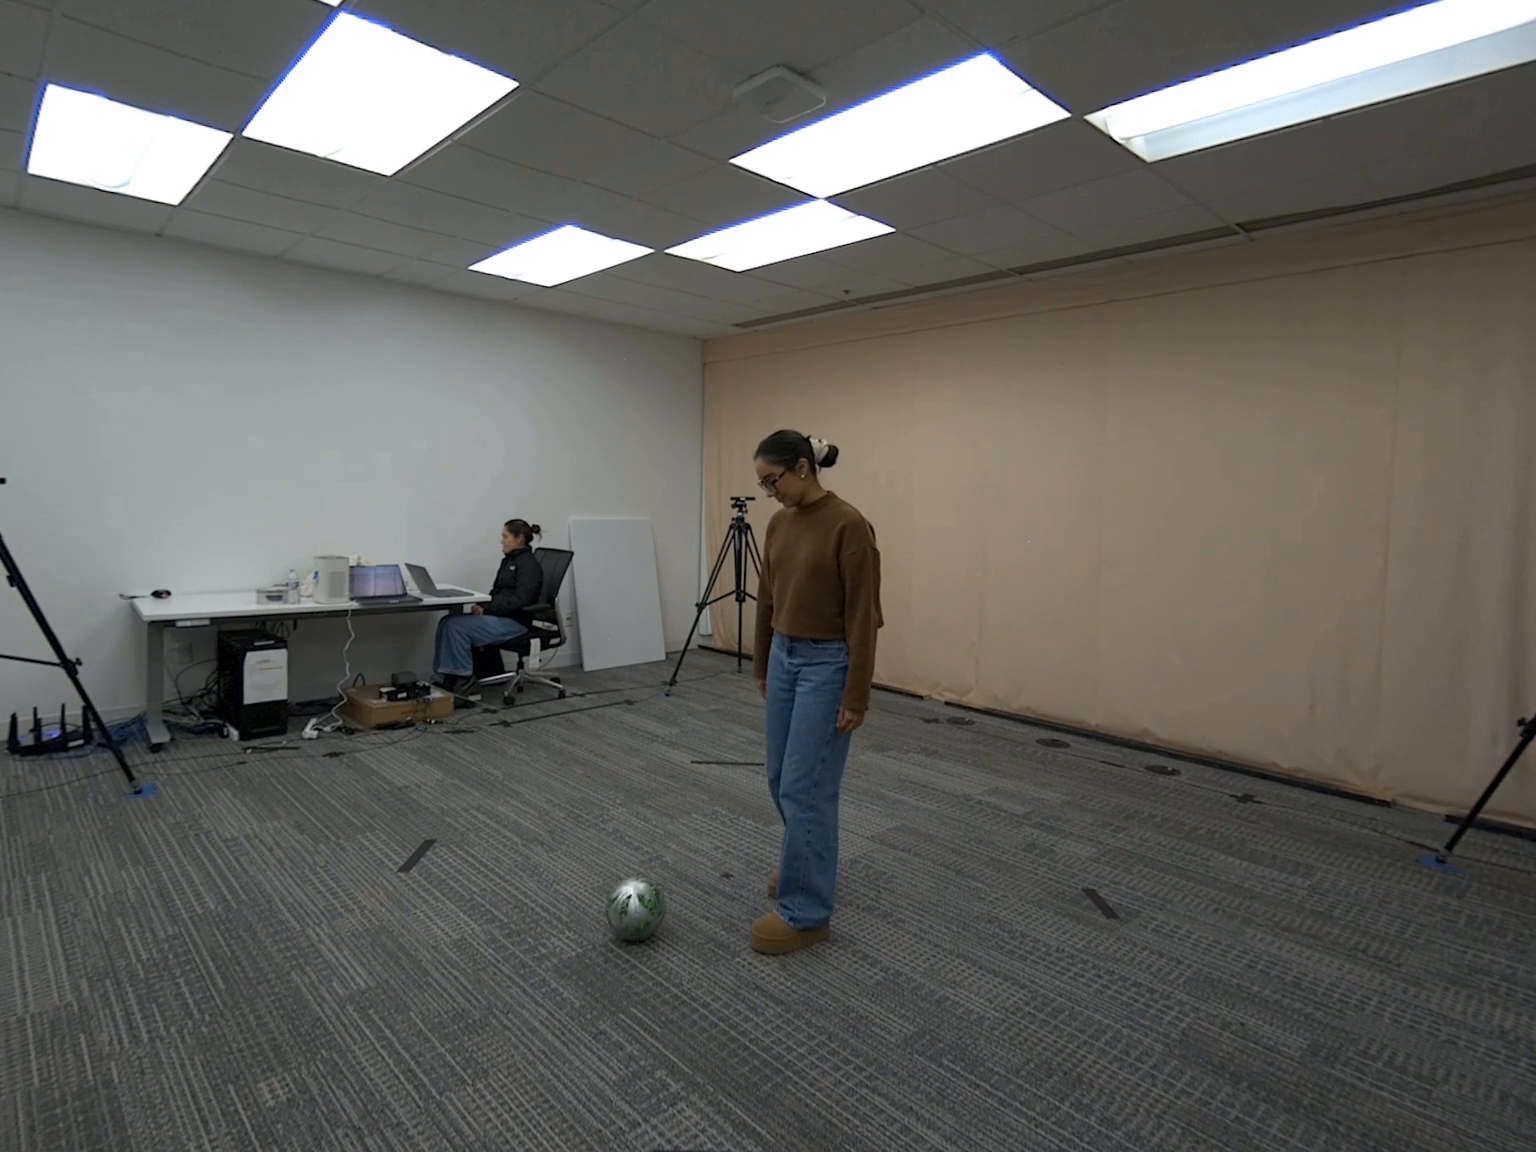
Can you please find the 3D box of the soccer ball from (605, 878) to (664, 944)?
[{"bbox_3d":[-0.418,1.041,2.655,0.187,0.187,0.188,1,4,-1],"label":"soccer ball"}]
